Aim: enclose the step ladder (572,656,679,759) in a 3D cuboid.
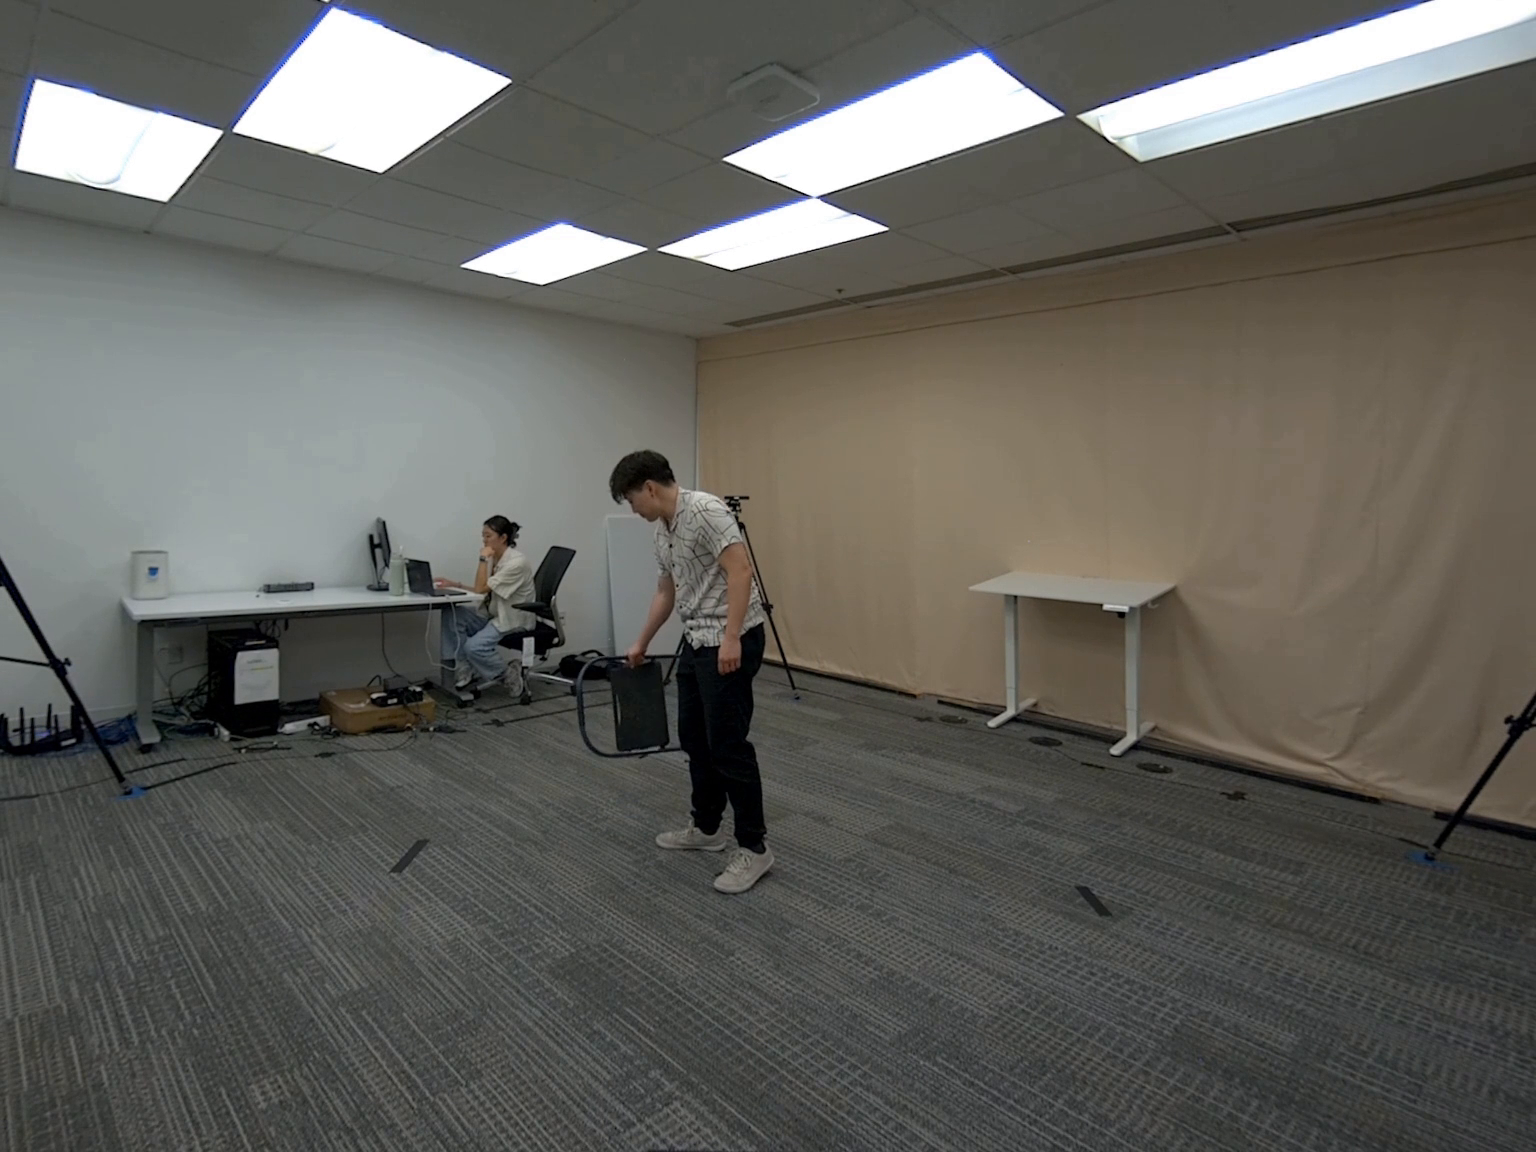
[{"bbox_3d":[-0.560,0.546,3.522,0.353,0.436,0.591,-14,-14,21],"label":"step ladder"}]
